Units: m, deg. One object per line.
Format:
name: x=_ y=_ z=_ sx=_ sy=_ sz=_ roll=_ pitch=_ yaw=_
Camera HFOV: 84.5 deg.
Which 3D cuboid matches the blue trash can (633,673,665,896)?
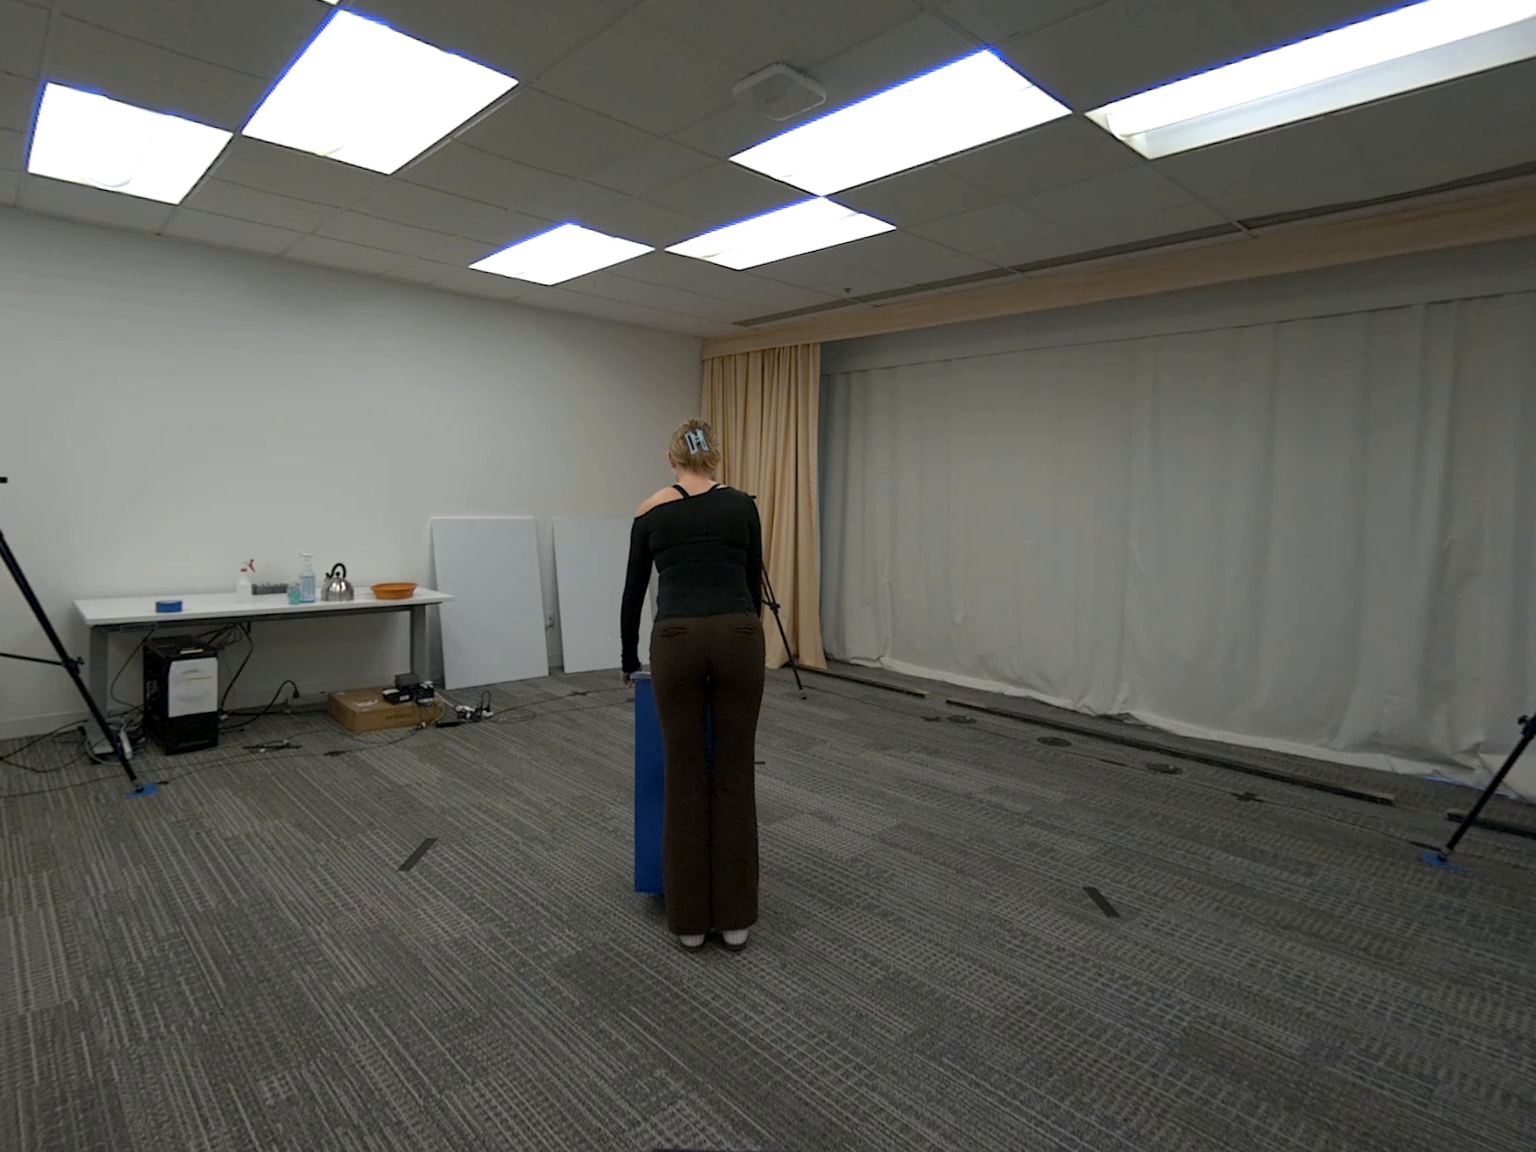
blue trash can: x=-0.296 y=0.714 z=2.961 sx=0.375 sy=0.719 sz=0.374 roll=0 pitch=-11 yaw=3
